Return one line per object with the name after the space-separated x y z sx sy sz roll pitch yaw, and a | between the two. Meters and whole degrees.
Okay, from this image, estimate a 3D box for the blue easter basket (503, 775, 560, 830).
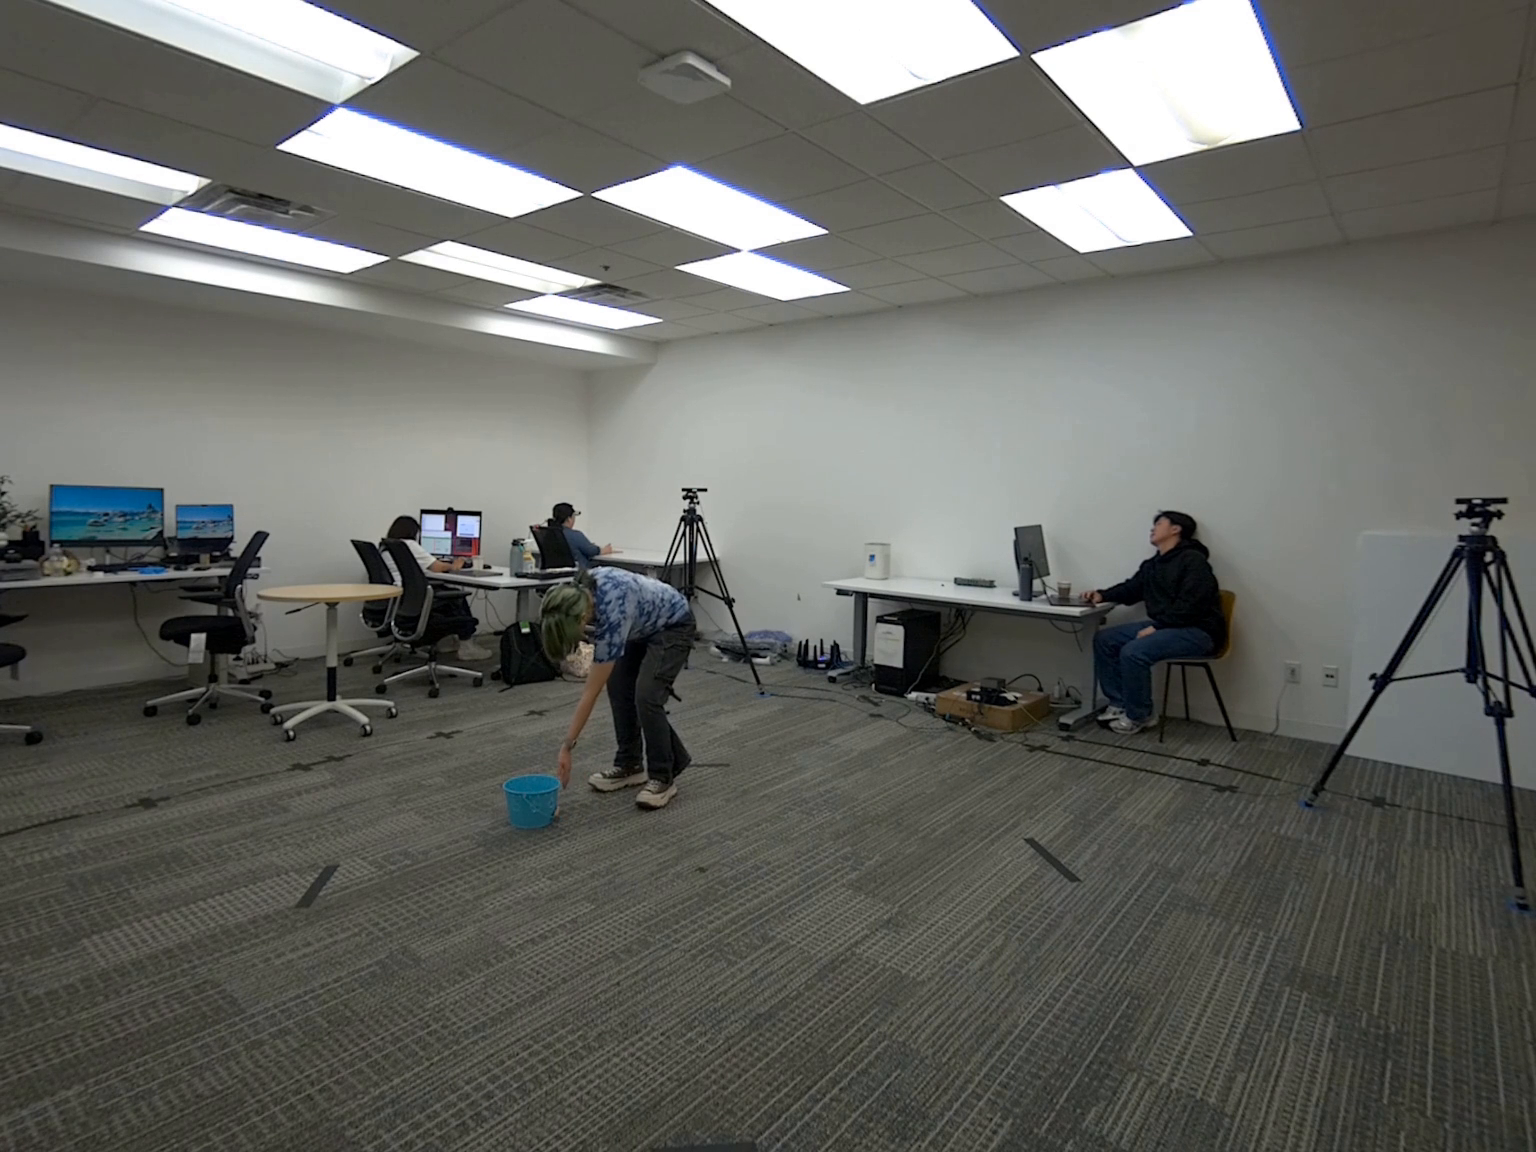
-0.994 0.937 3.541 0.243 0.155 0.245 1 6 -2 | blue easter basket
